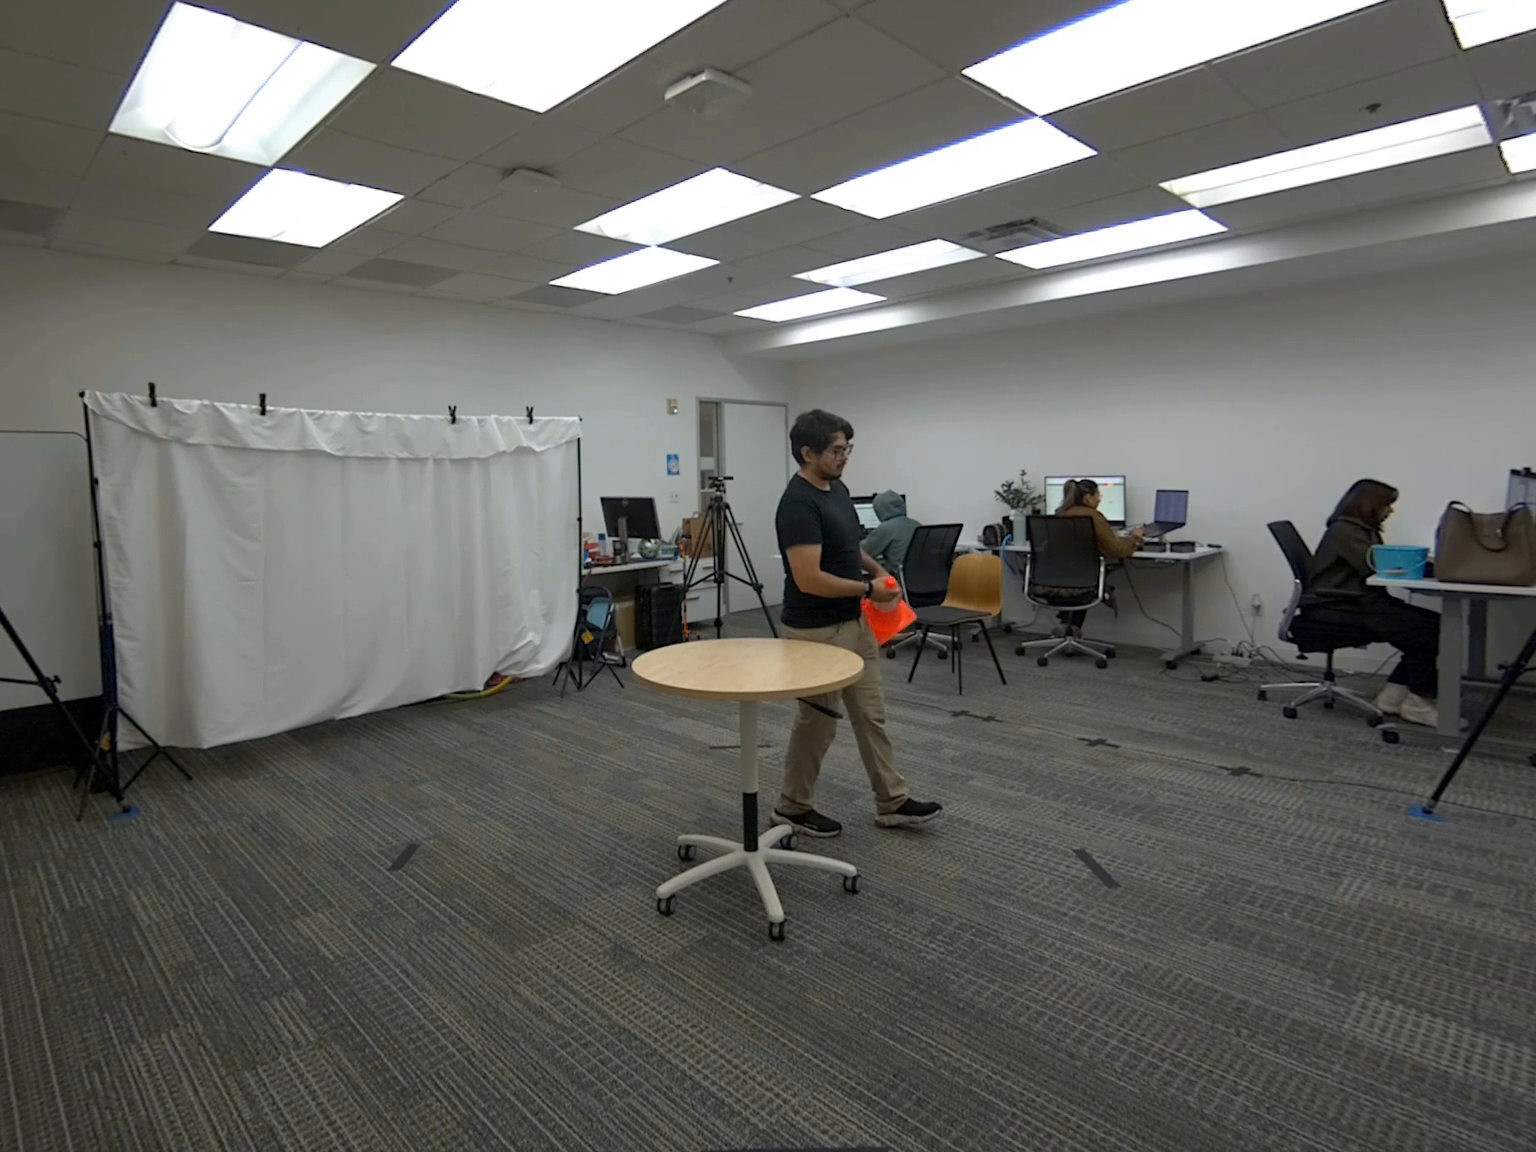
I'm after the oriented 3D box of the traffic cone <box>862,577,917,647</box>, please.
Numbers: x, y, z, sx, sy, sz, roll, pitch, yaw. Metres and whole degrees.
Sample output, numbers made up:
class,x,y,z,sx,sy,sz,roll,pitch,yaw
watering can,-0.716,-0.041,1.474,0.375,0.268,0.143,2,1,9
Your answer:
class,x,y,z,sx,sy,sz,roll,pitch,yaw
traffic cone,0.461,0.088,3.324,0.203,0.210,0.374,-34,-20,-6
